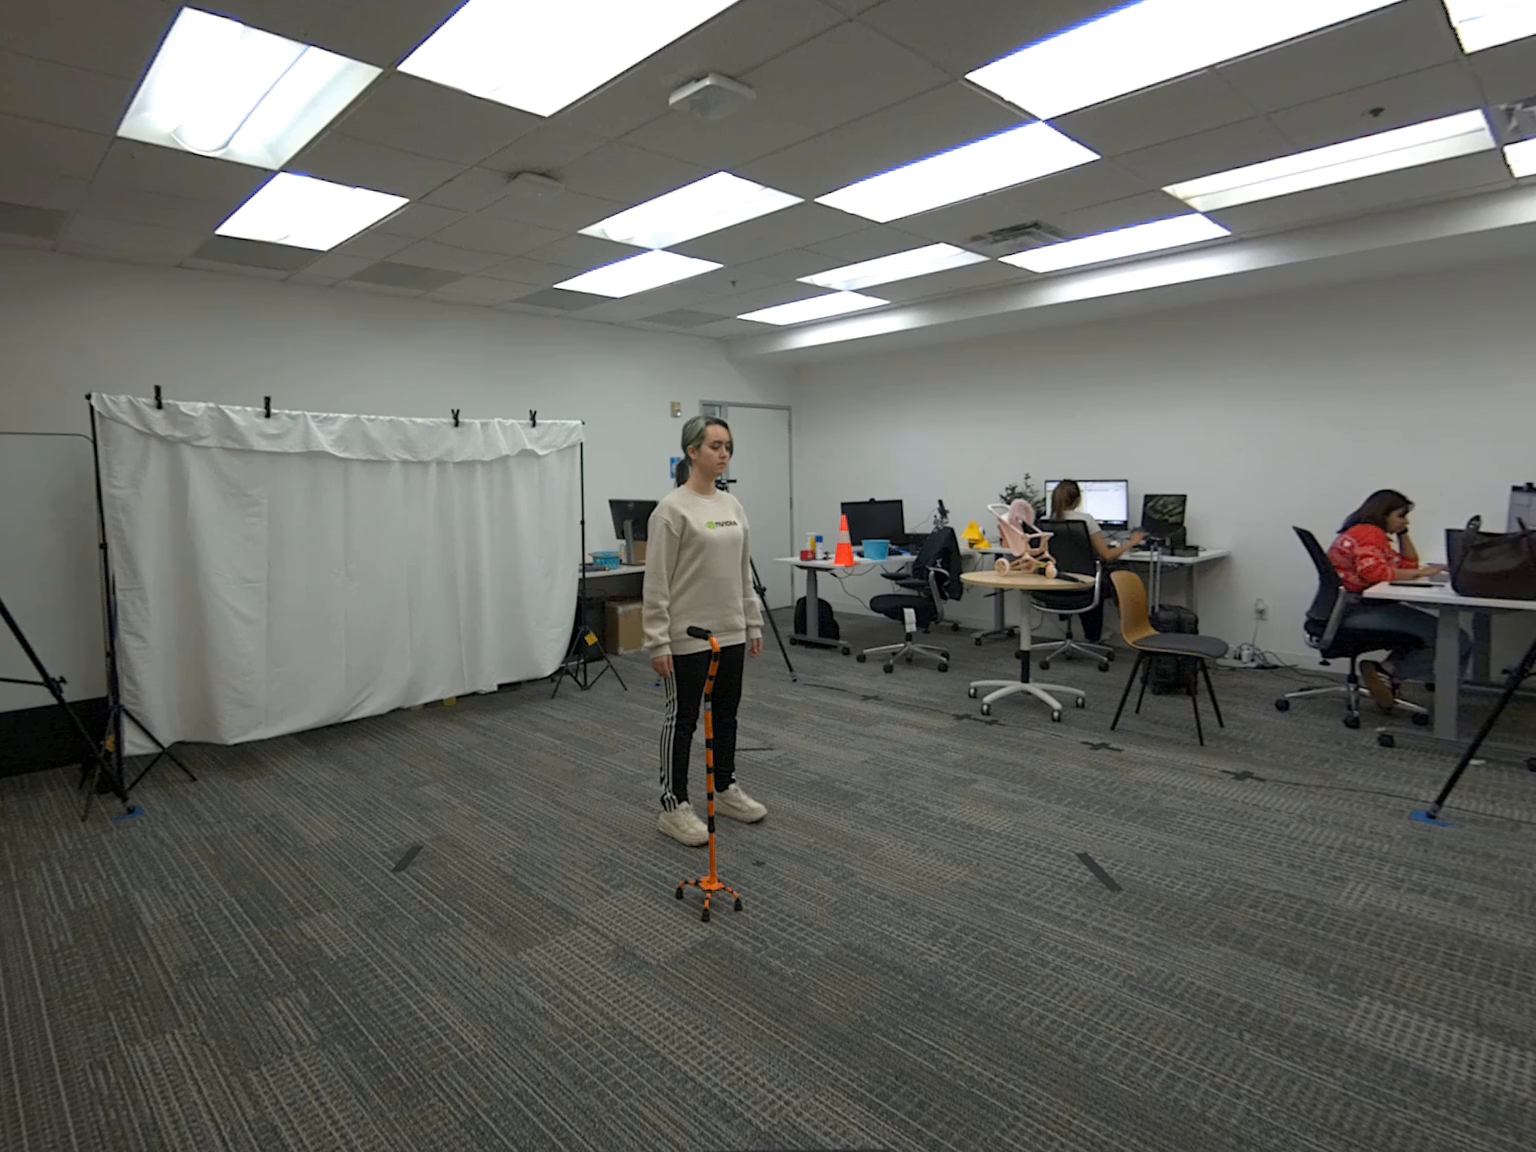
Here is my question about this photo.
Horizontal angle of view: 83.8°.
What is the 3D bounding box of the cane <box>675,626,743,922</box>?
[{"bbox_3d":[-0.201,0.631,2.797,0.148,0.905,0.212,-3,4,-32],"label":"cane"}]
